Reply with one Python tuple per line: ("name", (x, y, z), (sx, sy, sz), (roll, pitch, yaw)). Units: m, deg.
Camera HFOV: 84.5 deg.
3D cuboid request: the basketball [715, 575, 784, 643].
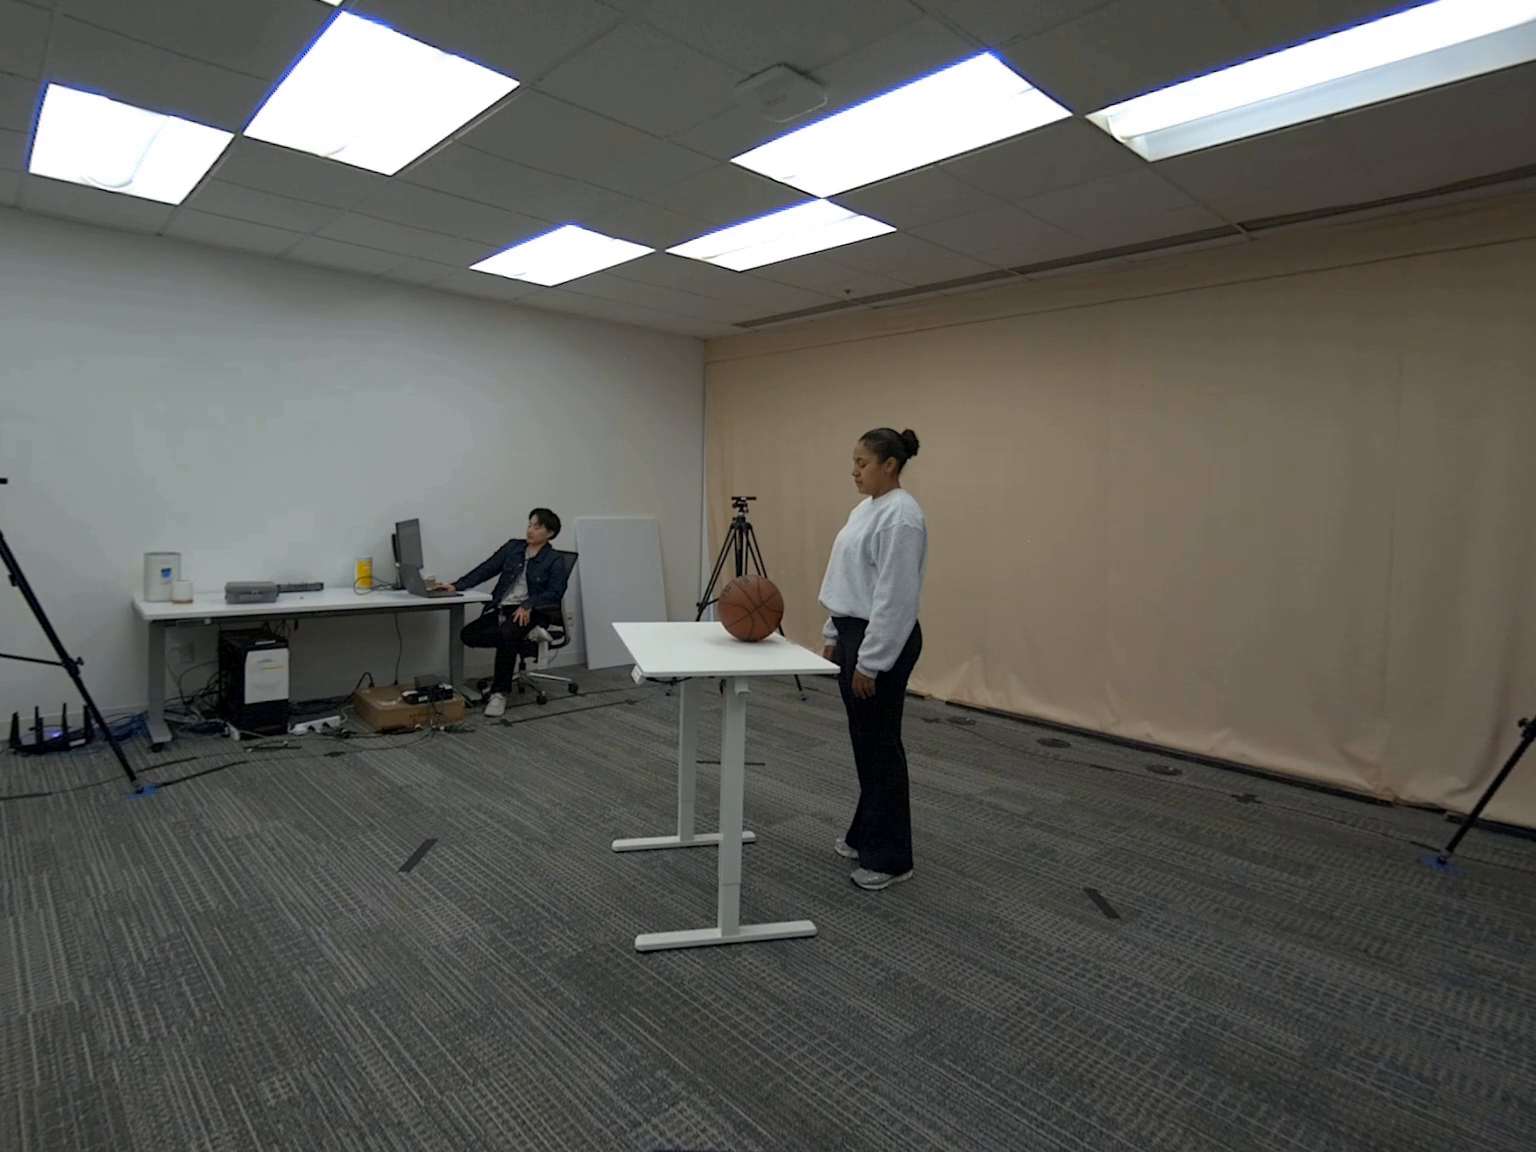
("basketball", (-0.061, 0.114, 3.025), (0.236, 0.235, 0.237), (1, 4, -1))
